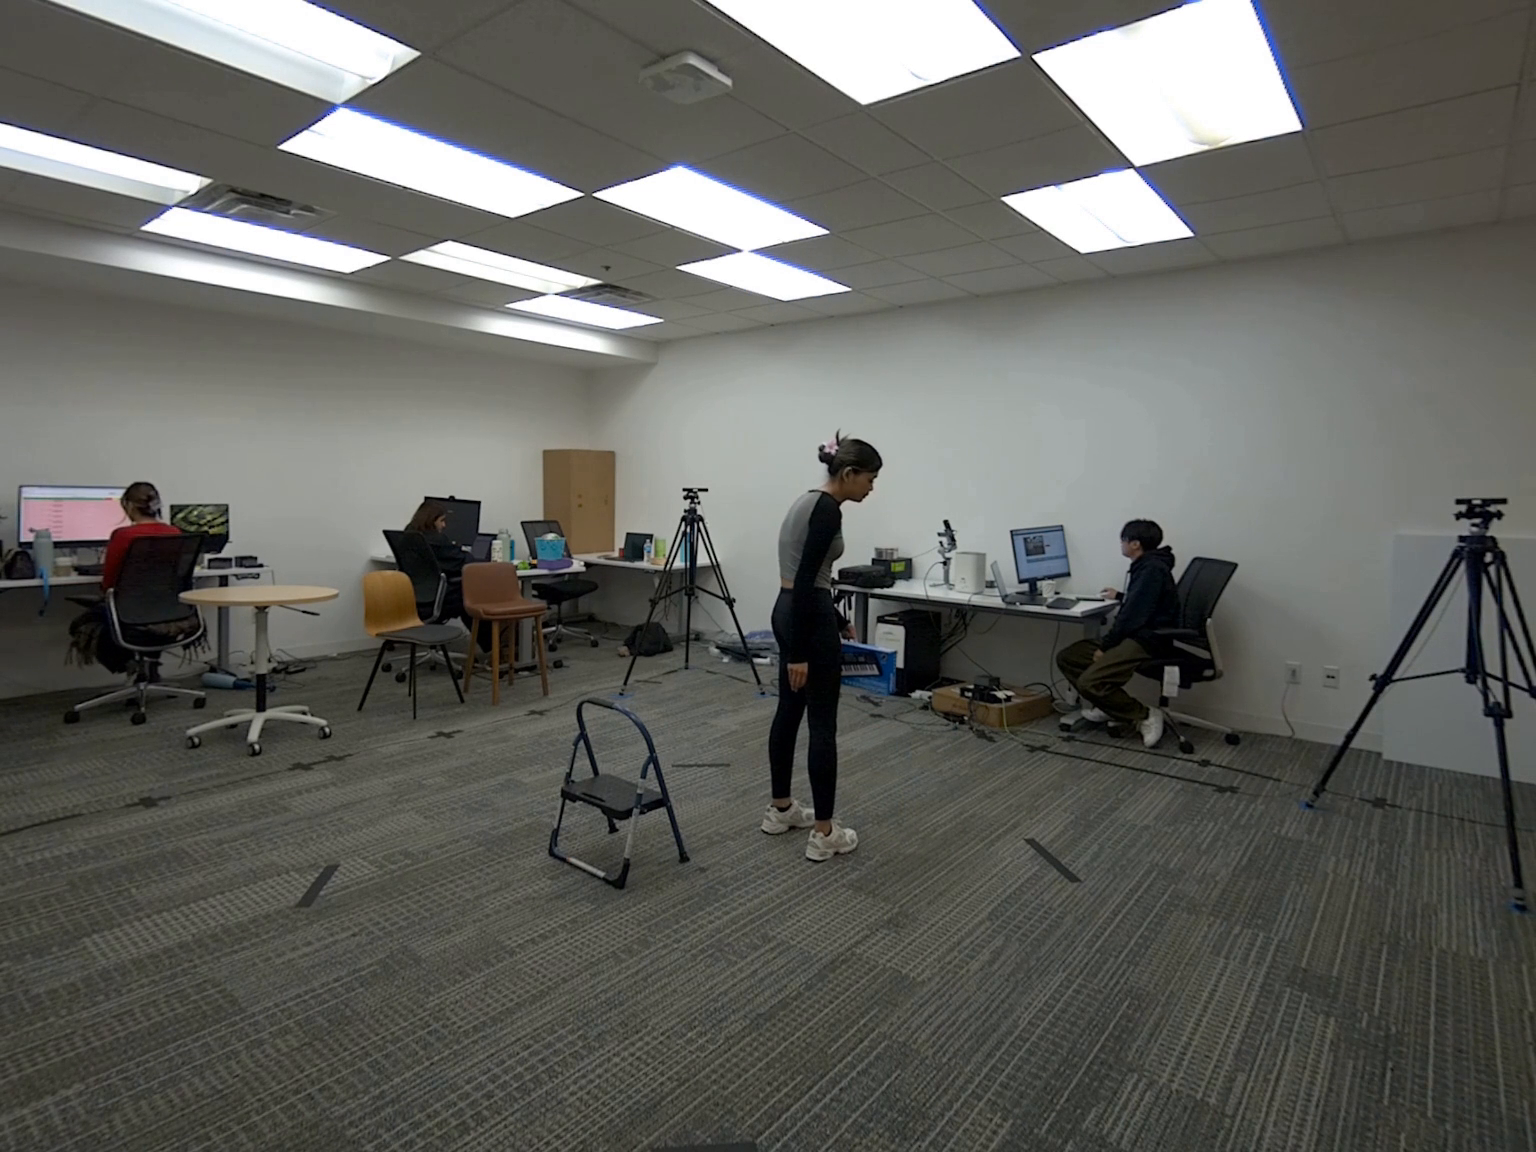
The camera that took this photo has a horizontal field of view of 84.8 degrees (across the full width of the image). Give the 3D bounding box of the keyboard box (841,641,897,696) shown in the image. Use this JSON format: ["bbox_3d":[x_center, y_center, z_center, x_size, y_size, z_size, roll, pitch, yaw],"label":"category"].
[{"bbox_3d":[0.316,0.370,3.540,0.452,0.175,0.057,8,5,38],"label":"keyboard box"}]
